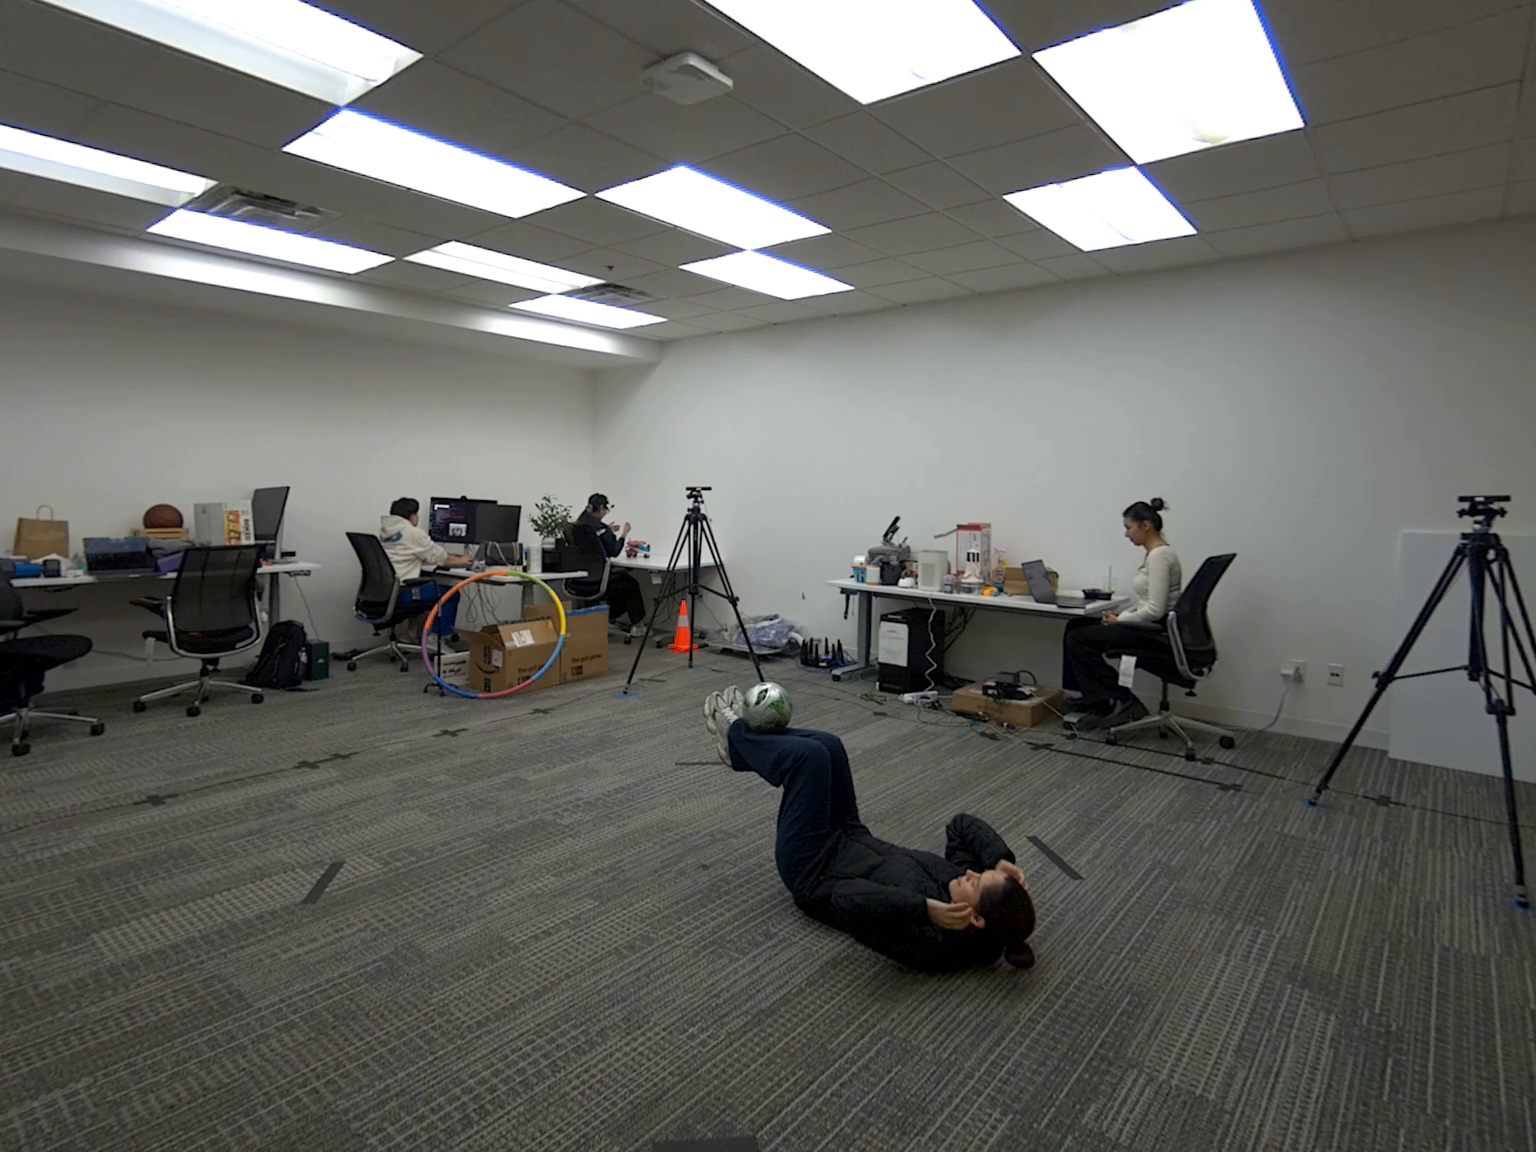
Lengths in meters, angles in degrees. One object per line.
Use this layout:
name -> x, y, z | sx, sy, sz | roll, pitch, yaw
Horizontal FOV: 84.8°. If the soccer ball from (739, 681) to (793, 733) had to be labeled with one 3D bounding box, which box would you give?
soccer ball -> -0.012, 0.477, 3.091 | 0.187, 0.187, 0.188 | -3, 3, -2
